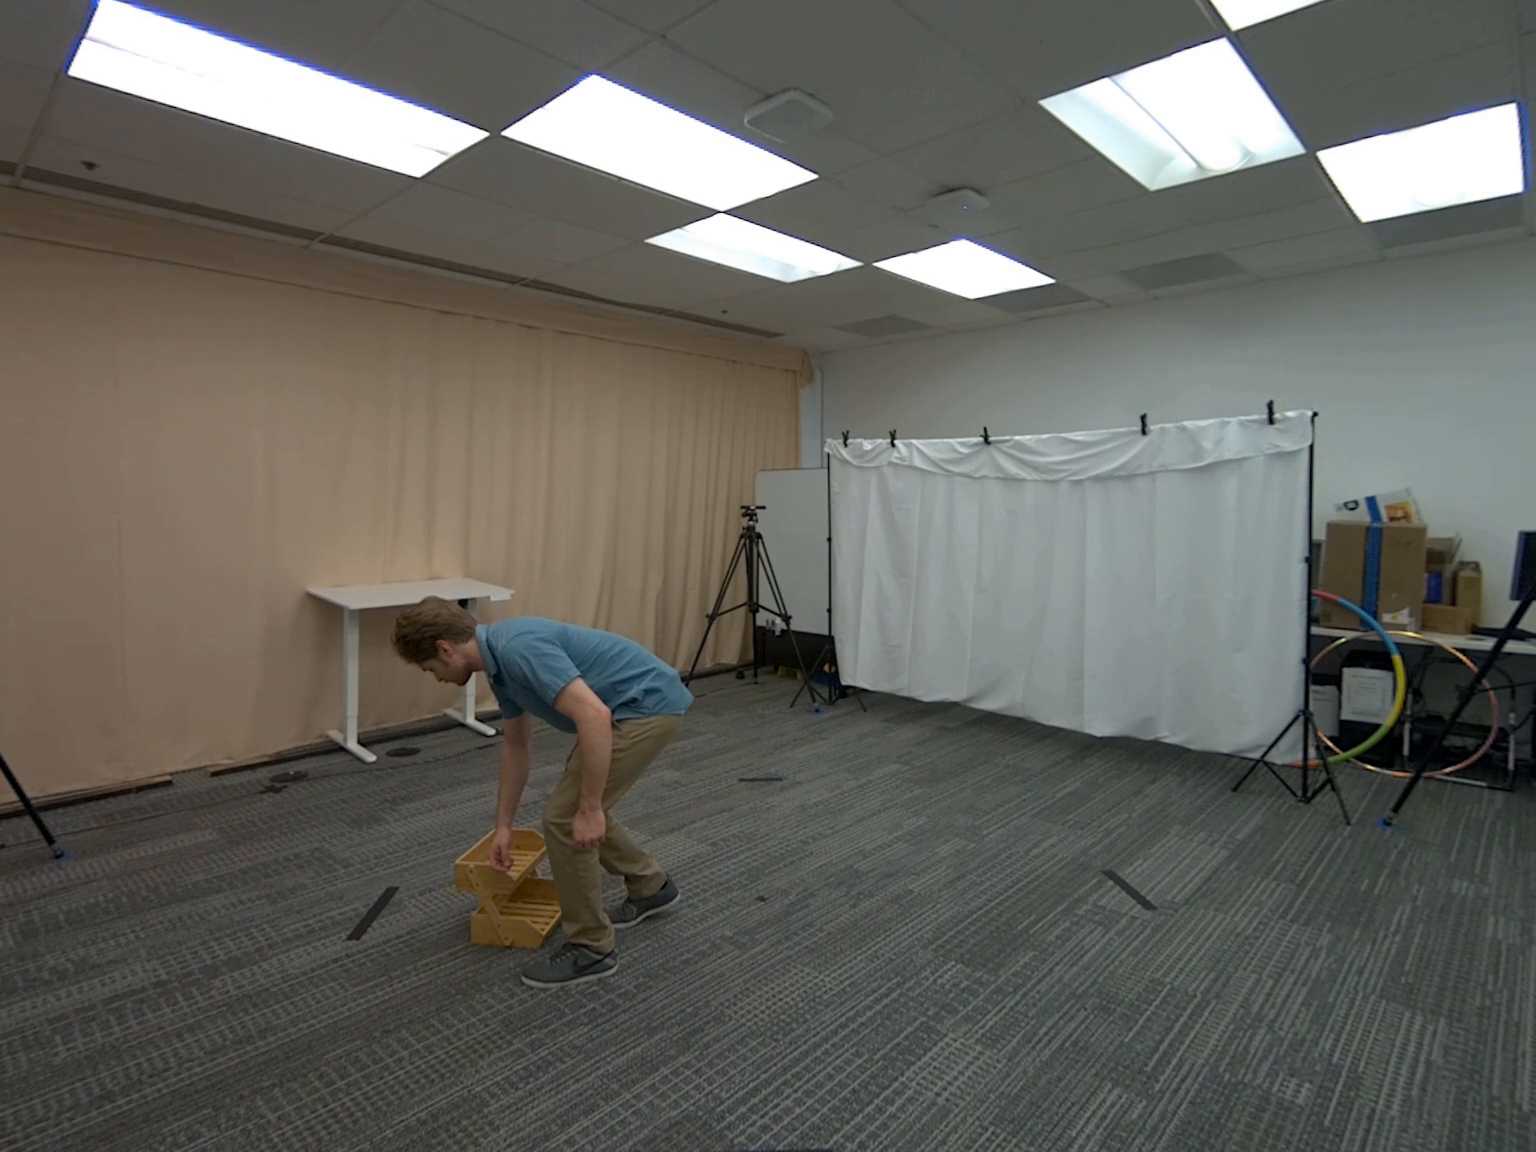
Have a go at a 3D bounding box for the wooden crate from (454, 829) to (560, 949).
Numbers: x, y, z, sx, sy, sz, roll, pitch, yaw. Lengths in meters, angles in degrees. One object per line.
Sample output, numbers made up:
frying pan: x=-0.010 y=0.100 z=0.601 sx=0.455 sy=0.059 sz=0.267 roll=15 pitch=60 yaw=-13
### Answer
wooden crate: x=-0.826 y=1.027 z=2.814 sx=0.305 sy=0.273 sz=0.322 roll=-1 pitch=3 yaw=9
